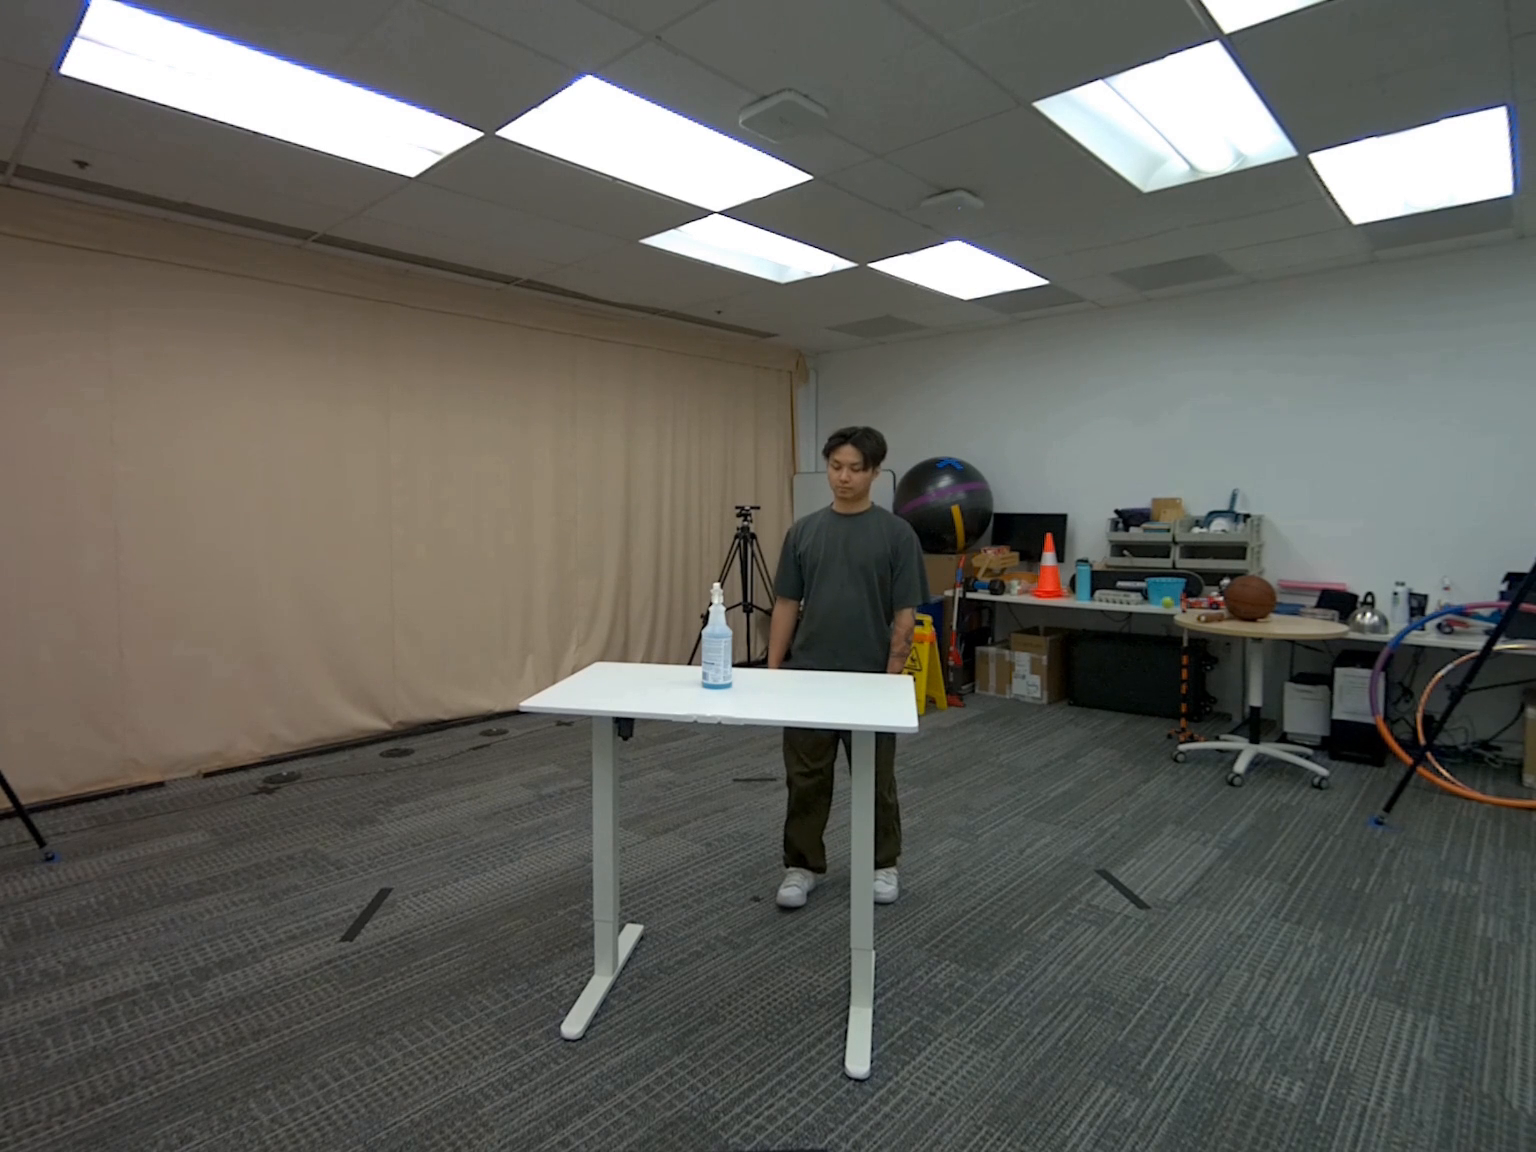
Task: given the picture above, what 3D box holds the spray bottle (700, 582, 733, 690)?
[{"bbox_3d":[-0.142,0.168,2.372,0.089,0.296,0.088,1,4,27],"label":"spray bottle"}]
